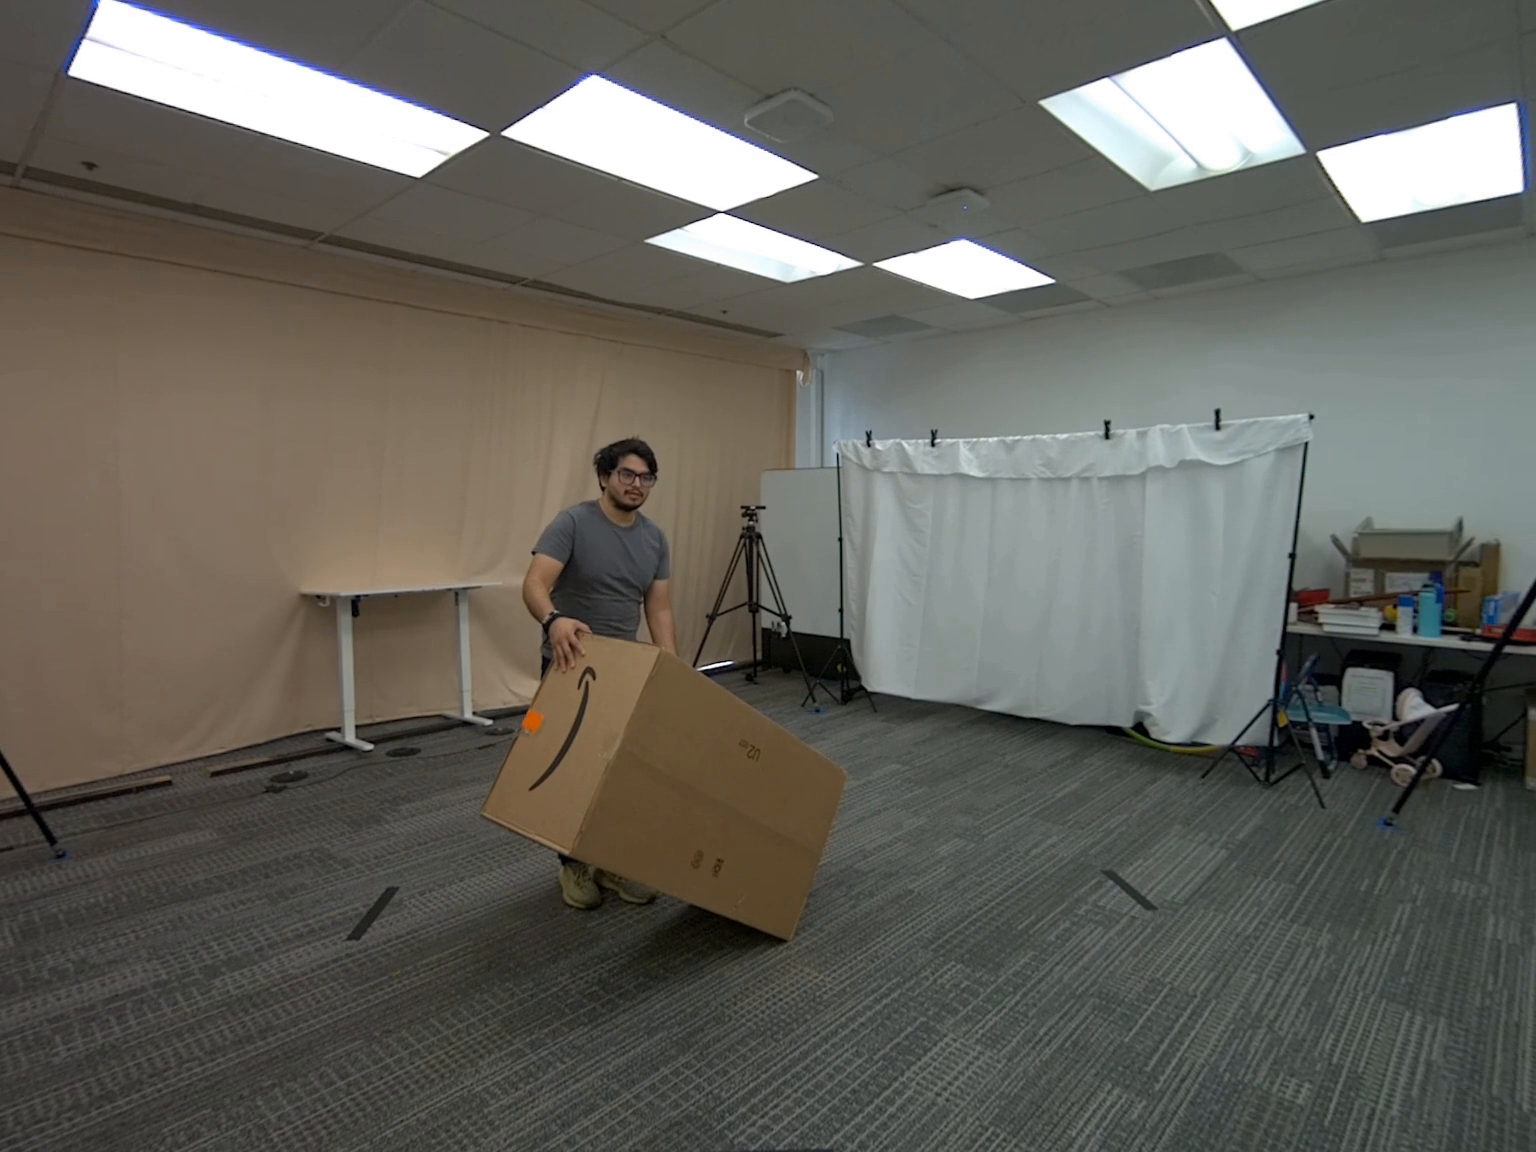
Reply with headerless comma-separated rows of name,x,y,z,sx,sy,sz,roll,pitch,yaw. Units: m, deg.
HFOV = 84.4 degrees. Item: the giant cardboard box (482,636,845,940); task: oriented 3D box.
giant cardboard box,-0.261,0.671,2.612,0.440,0.579,0.989,3,-27,42
